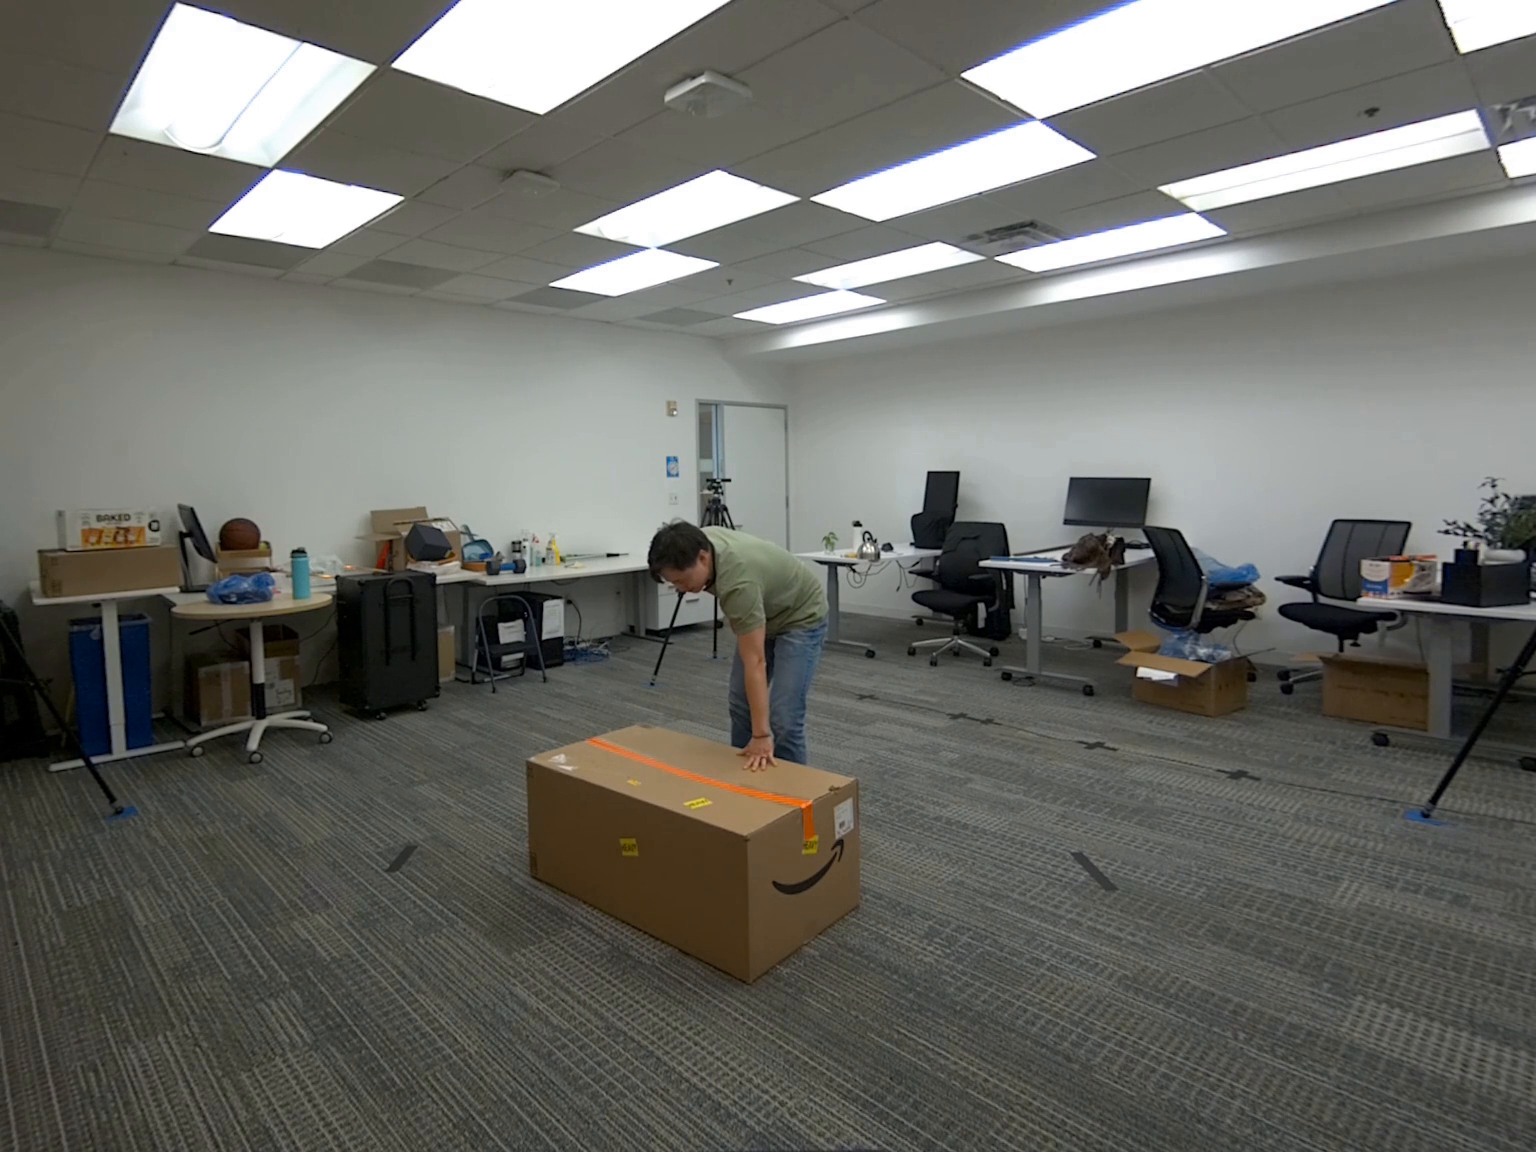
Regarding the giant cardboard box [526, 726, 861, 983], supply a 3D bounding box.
[{"bbox_3d":[-0.274,0.861,2.898,1.057,0.424,0.563,4,8,40],"label":"giant cardboard box"}]
